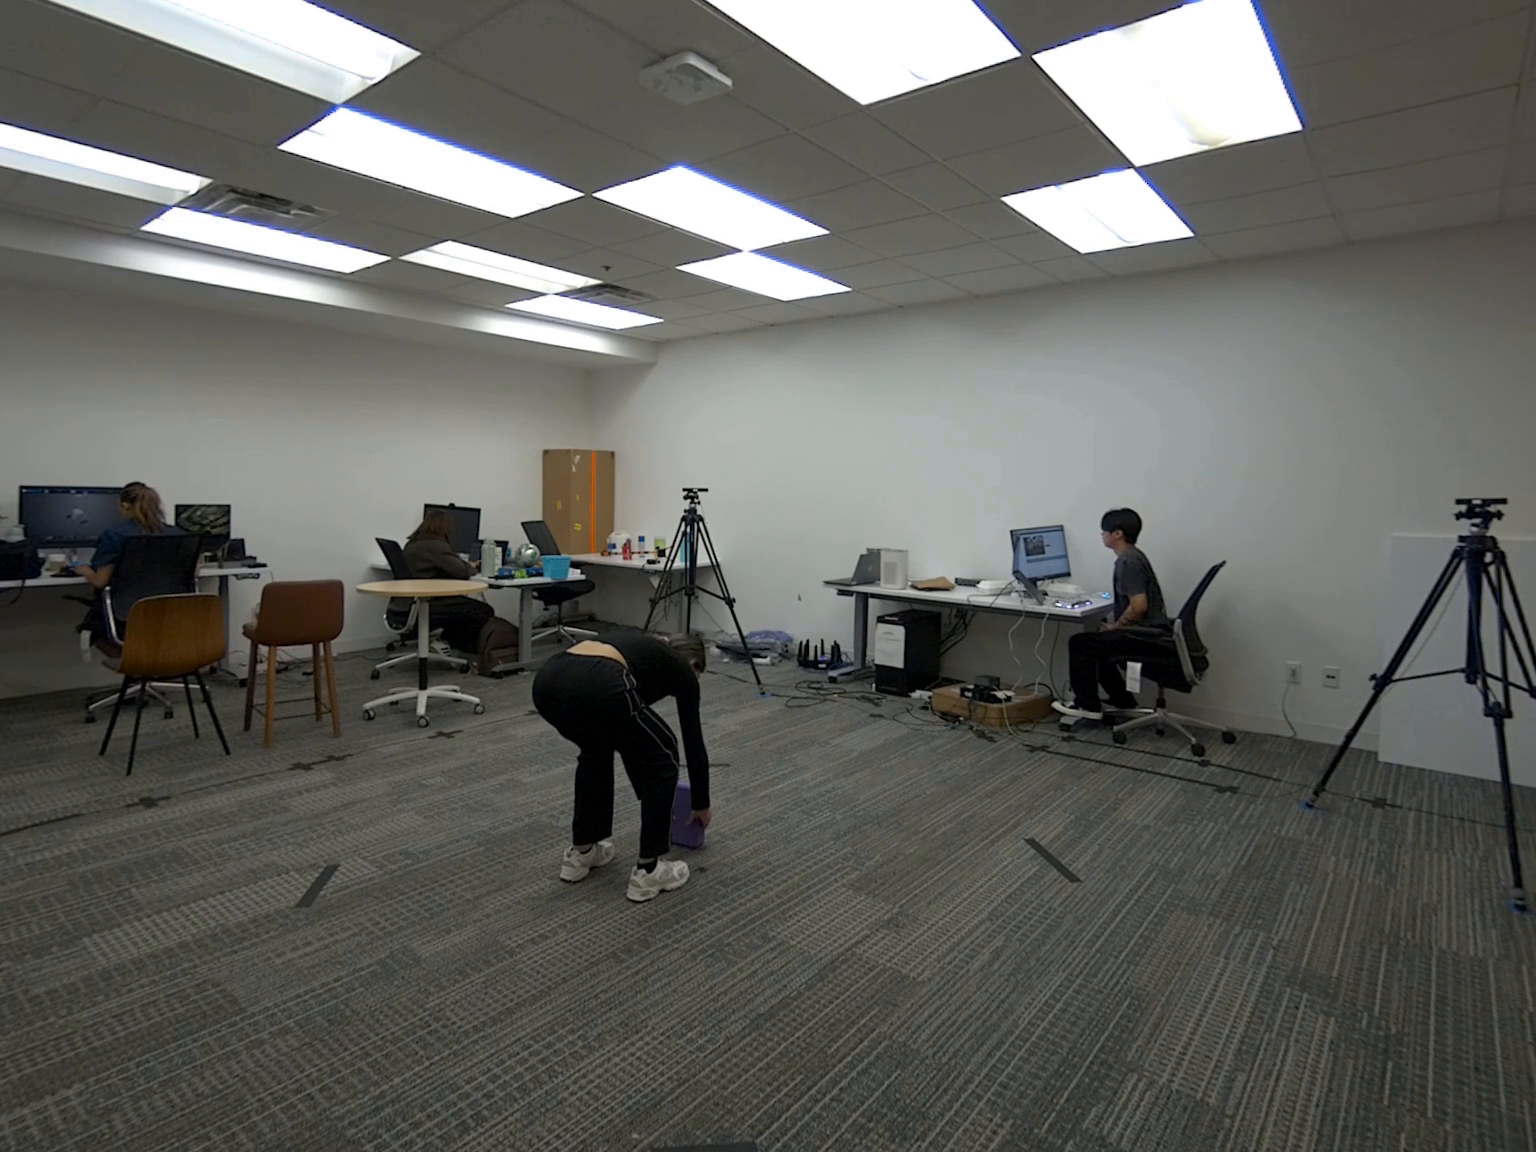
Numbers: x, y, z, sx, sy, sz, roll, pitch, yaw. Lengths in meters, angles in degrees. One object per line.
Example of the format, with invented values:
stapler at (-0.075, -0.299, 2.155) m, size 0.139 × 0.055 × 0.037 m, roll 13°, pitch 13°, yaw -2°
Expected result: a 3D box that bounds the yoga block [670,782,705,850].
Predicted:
yoga block at (-0.332, 0.931, 3.338) m, size 0.152 × 0.230 × 0.074 m, roll 2°, pitch -6°, yaw 19°
